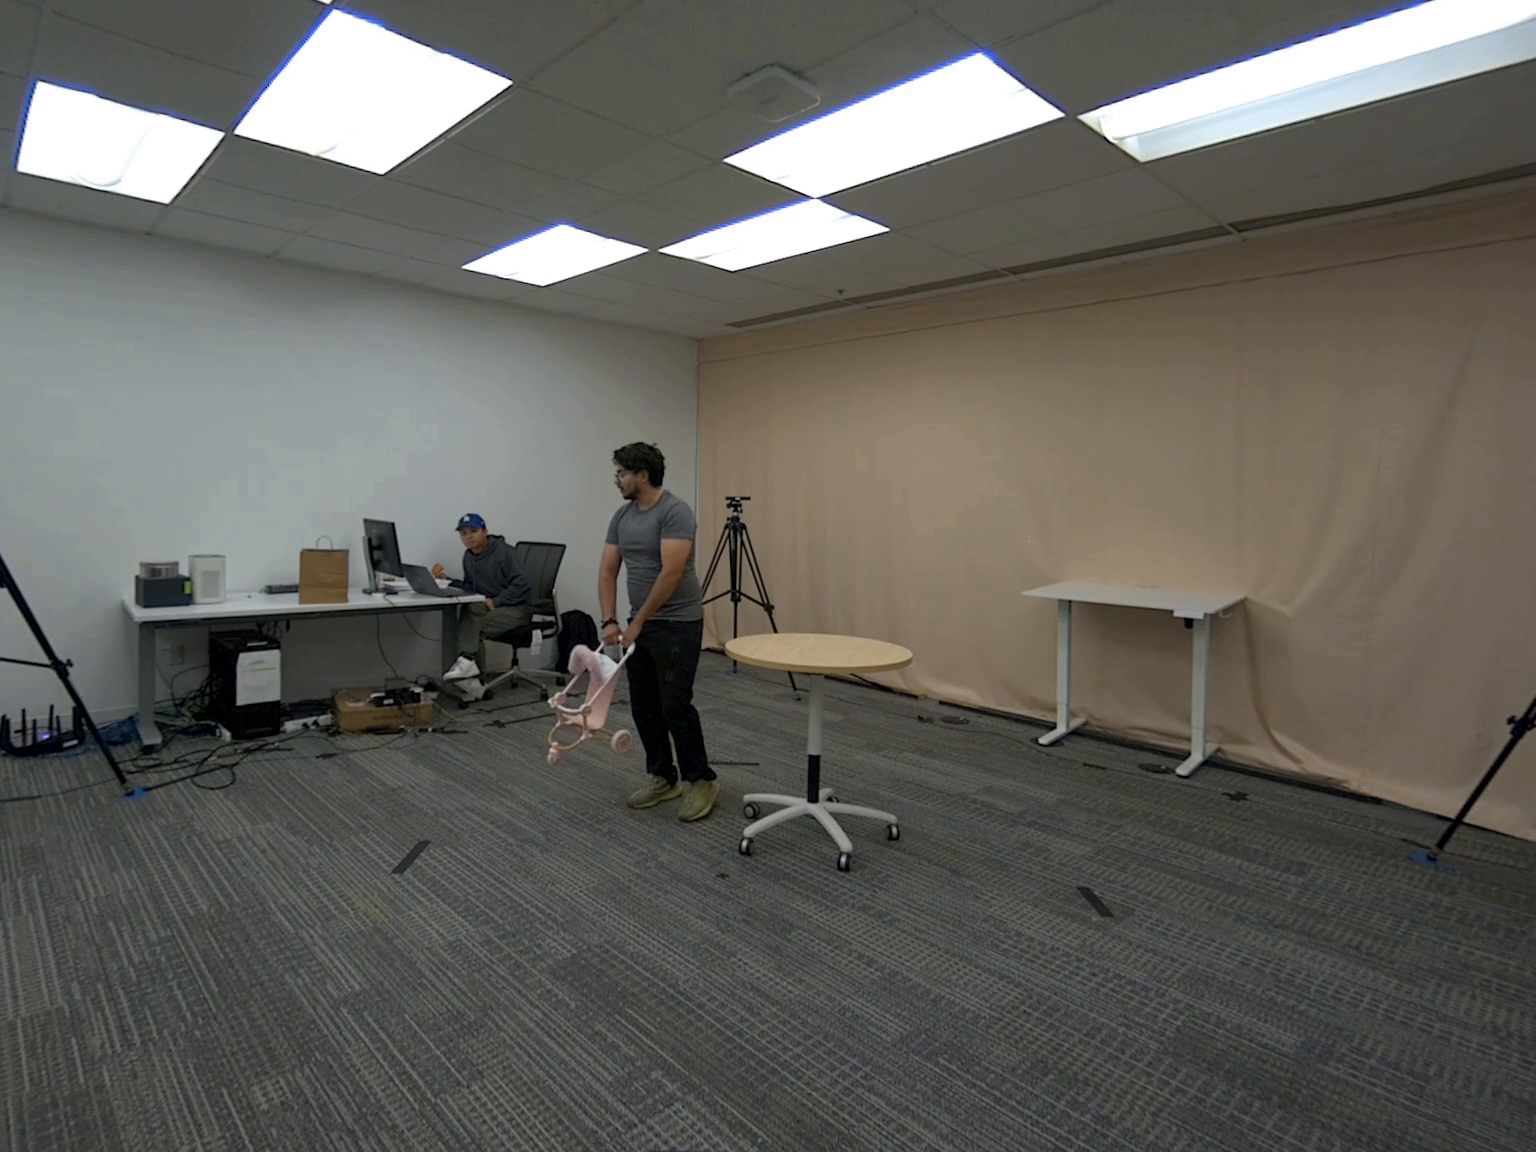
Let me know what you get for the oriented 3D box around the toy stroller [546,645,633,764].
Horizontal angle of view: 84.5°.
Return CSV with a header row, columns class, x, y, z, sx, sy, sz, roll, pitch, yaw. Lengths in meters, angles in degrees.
class,x,y,z,sx,sy,sz,roll,pitch,yaw
toy stroller,-0.772,0.533,3.569,0.333,0.533,0.289,3,6,-43
